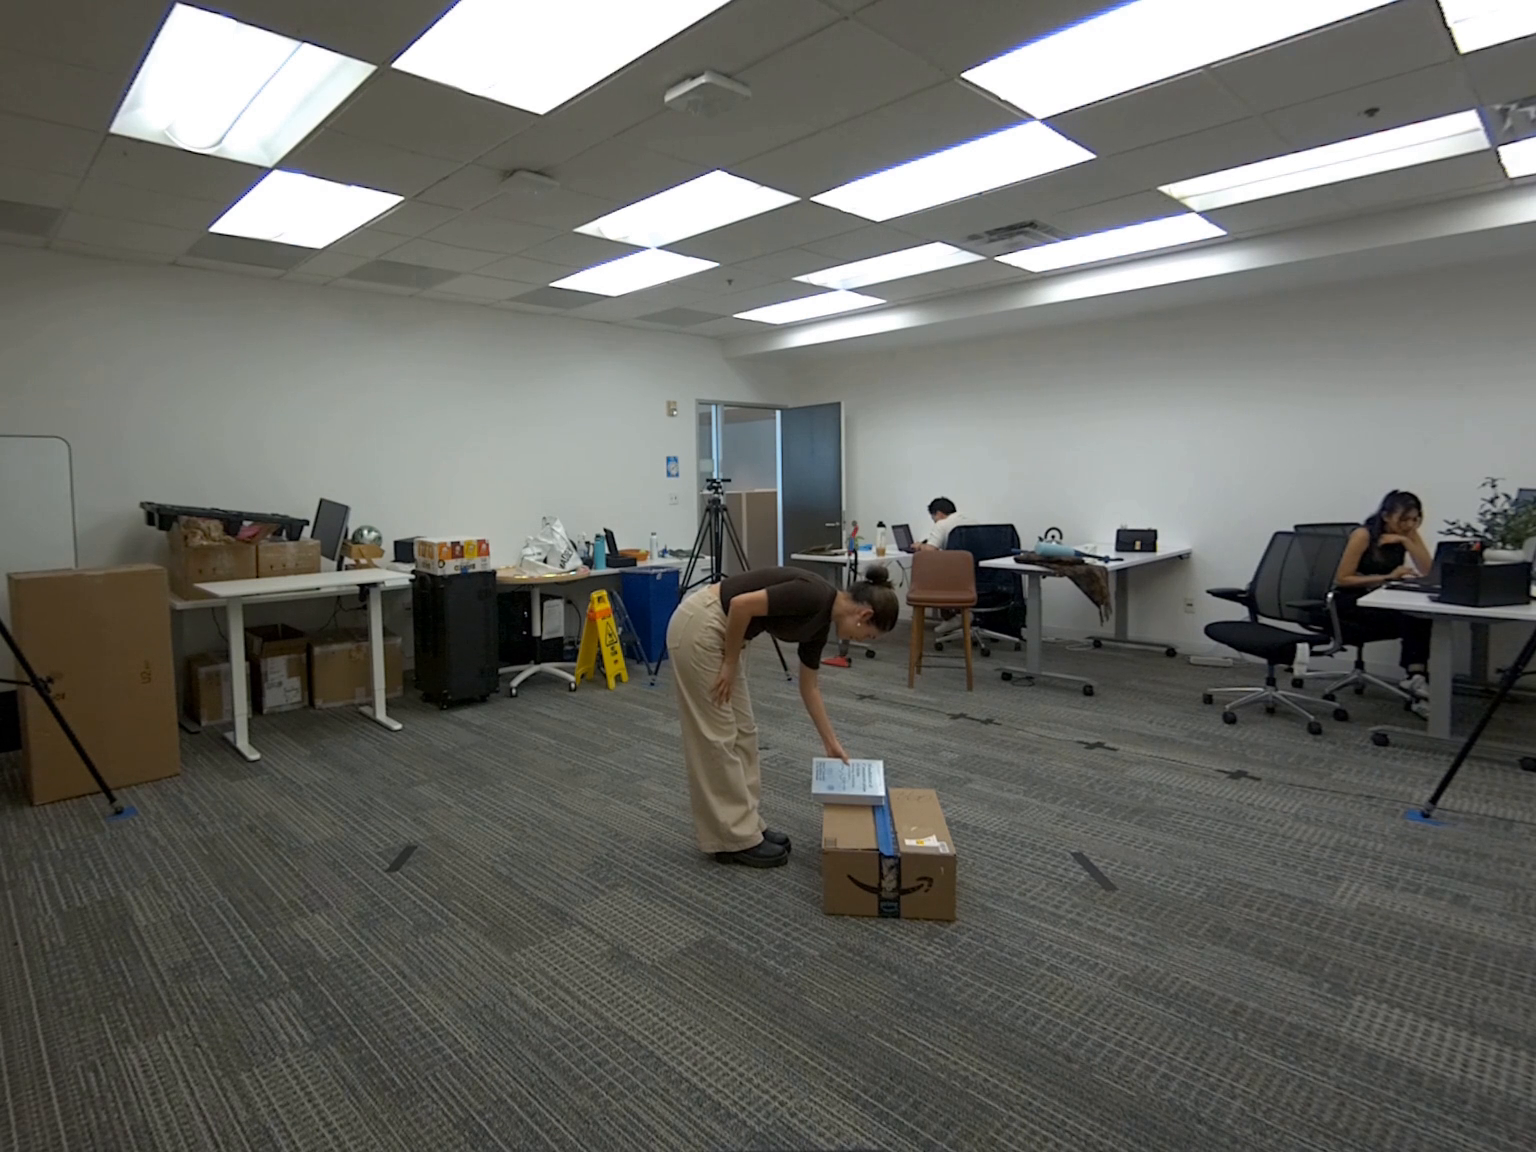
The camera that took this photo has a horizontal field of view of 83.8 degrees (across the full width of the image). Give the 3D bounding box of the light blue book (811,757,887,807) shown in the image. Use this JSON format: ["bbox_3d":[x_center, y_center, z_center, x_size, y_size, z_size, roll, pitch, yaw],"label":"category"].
[{"bbox_3d":[0.286,0.755,3.145,0.263,0.057,0.194,0,29,7],"label":"light blue book"}]
